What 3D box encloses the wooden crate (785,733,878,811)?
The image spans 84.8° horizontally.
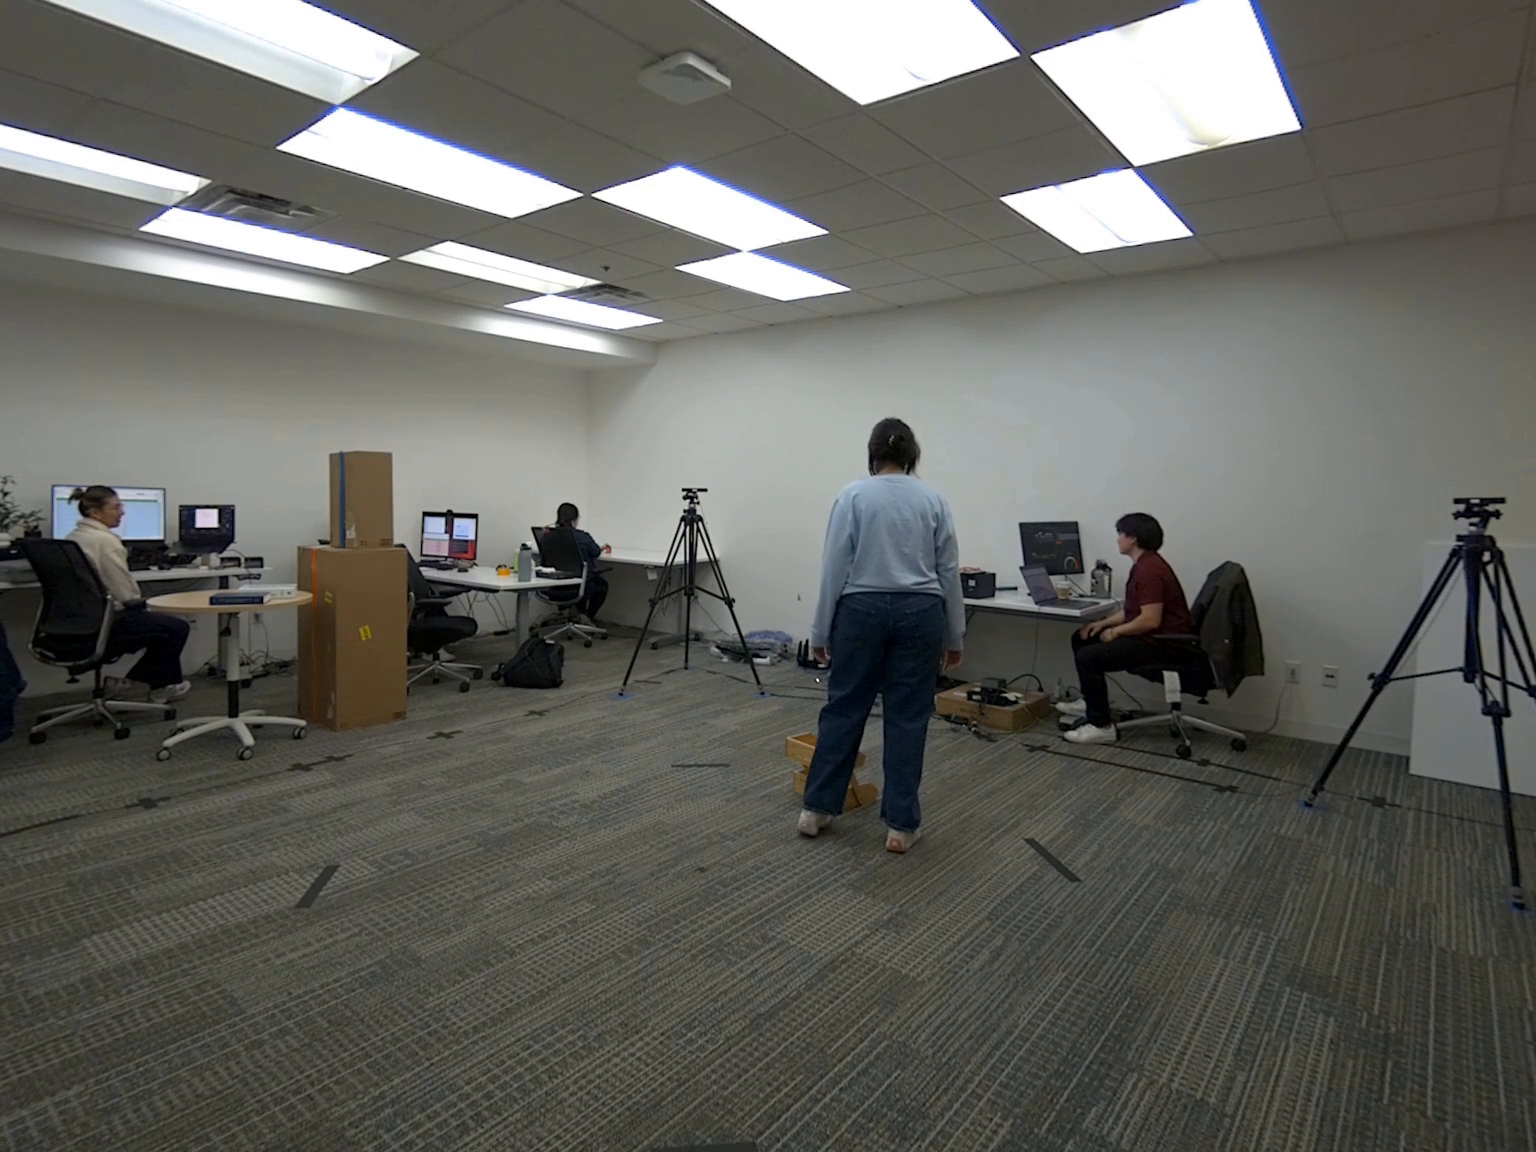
[{"bbox_3d":[0.288,0.871,3.884,0.293,0.272,0.336,-3,7,-40],"label":"wooden crate"}]
